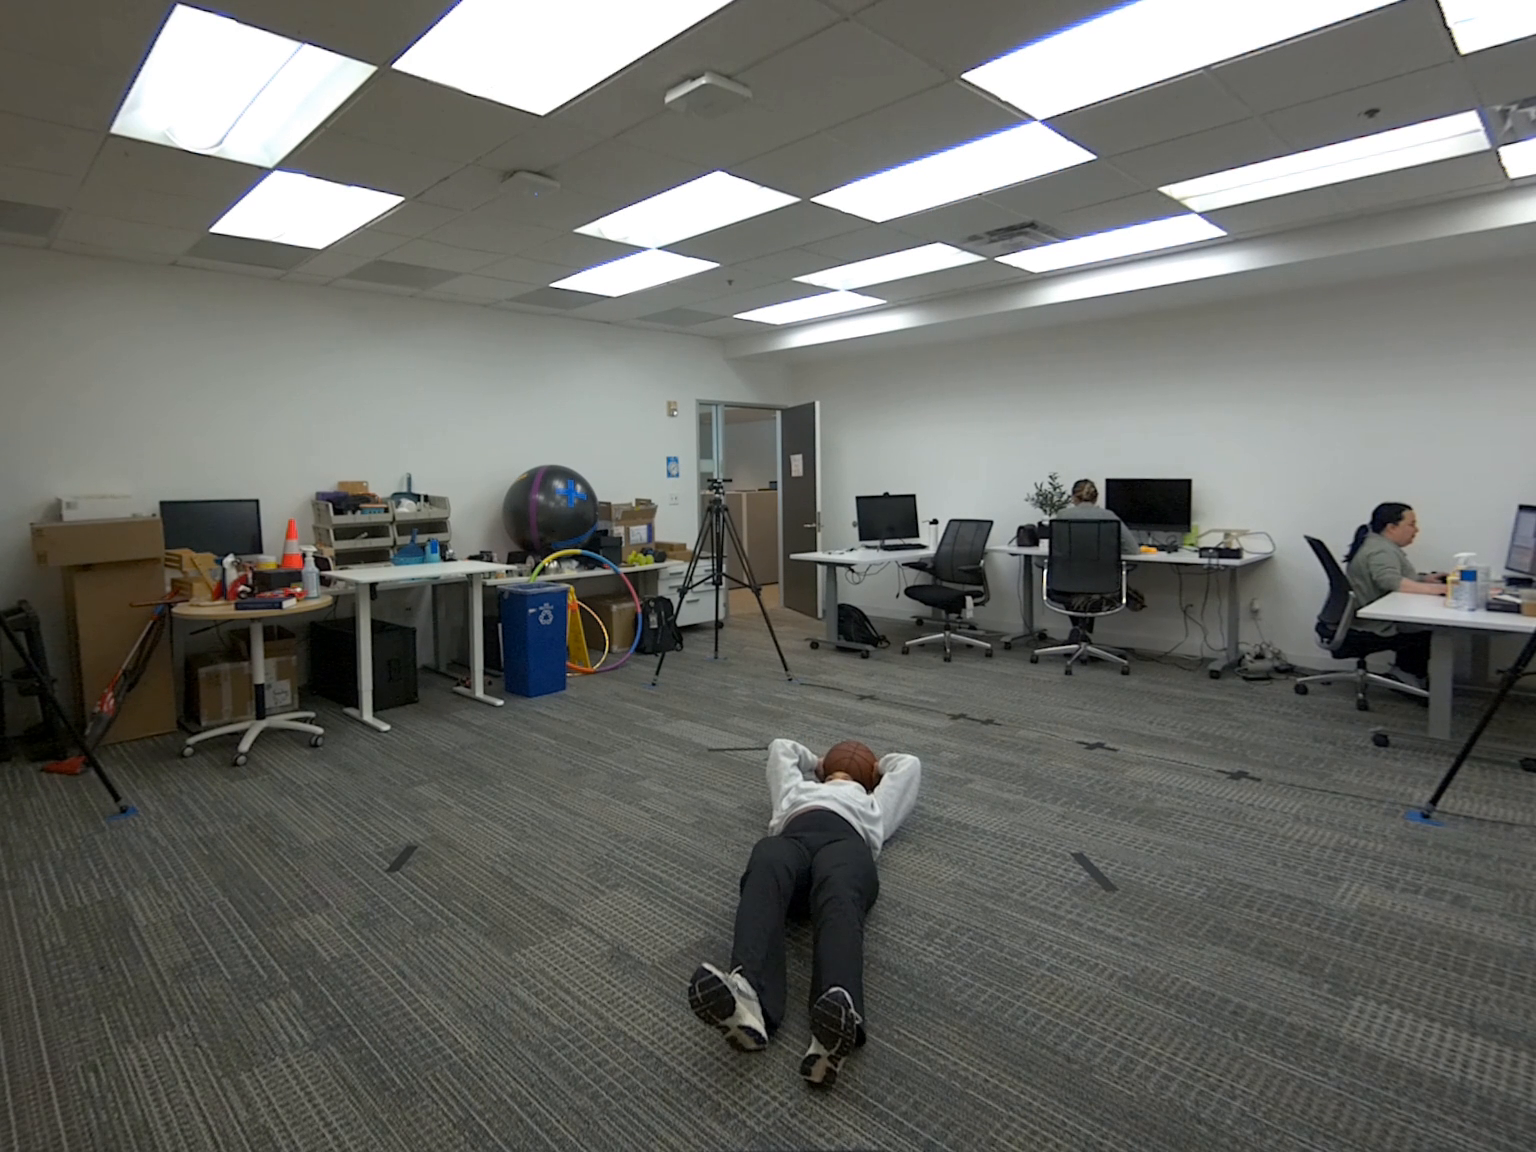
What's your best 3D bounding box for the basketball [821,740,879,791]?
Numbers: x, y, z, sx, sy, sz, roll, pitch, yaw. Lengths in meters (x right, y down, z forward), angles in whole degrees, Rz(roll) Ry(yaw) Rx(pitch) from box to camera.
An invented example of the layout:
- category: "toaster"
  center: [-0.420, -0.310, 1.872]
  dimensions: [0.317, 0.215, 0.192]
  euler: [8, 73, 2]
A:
- category: "basketball"
  center: [0.361, 0.827, 3.699]
  dimensions: [0.236, 0.235, 0.236]
  euler: [-4, 2, -2]
